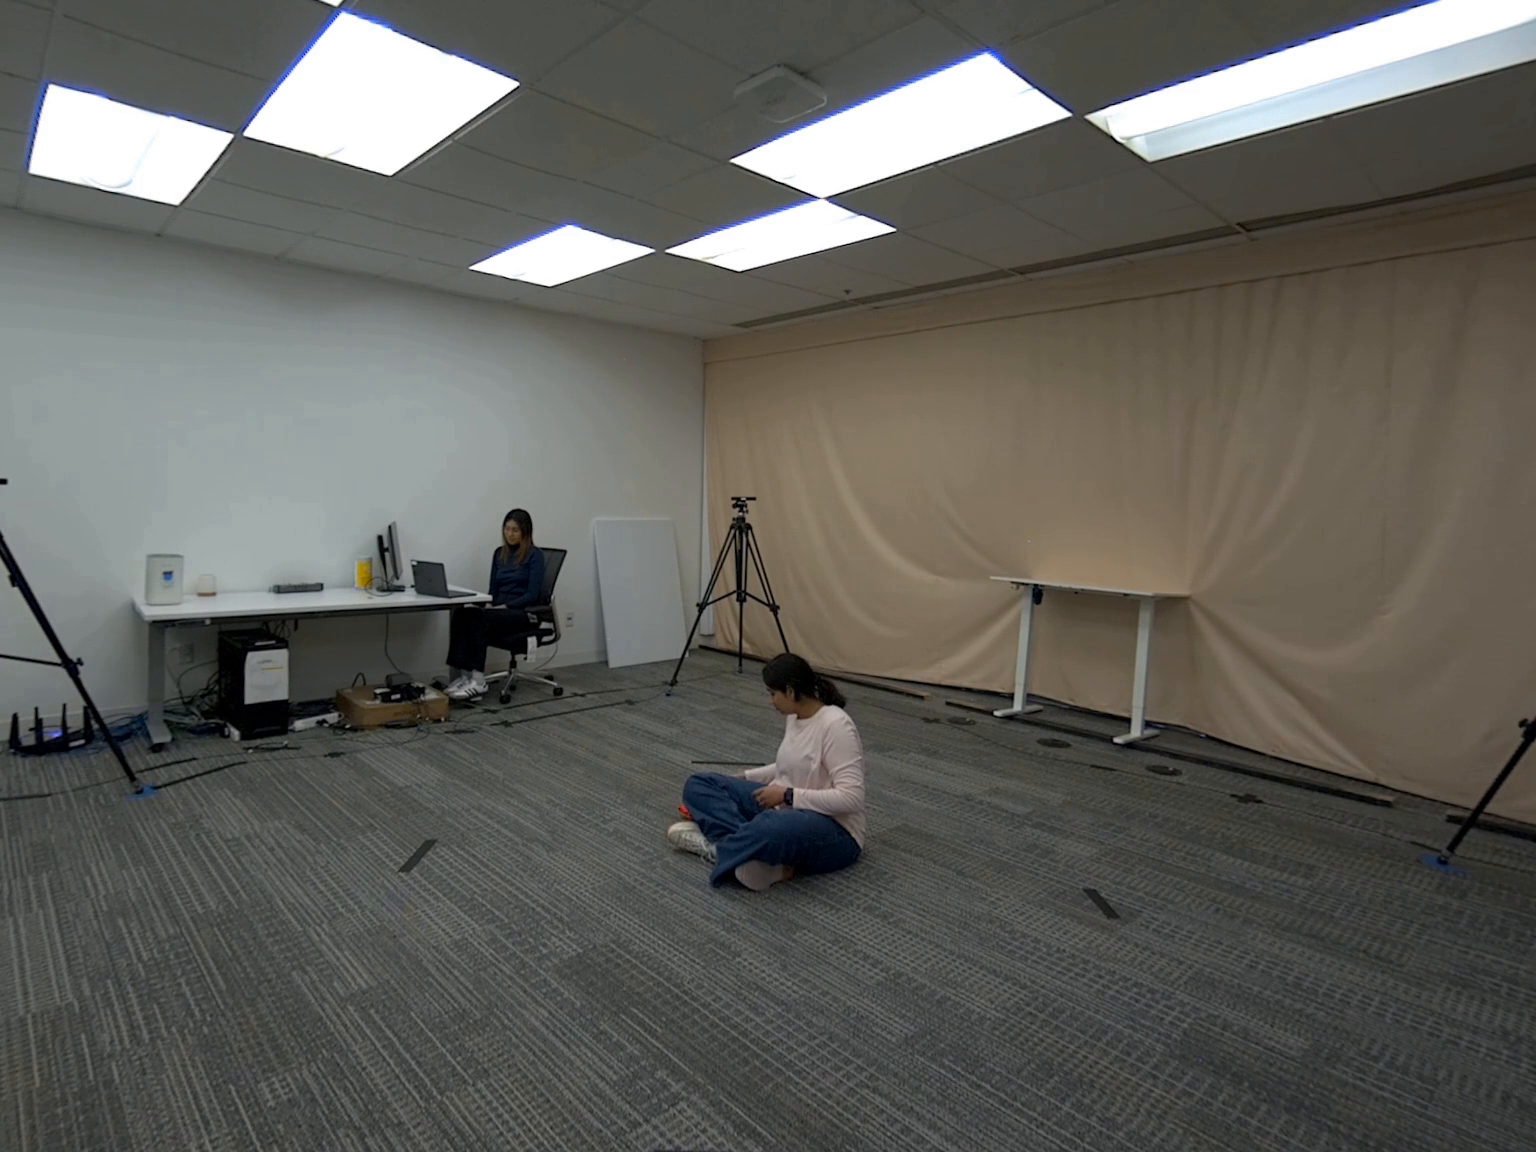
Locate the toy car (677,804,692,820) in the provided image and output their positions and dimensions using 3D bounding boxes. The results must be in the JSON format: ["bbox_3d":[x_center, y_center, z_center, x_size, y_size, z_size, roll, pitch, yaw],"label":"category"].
[{"bbox_3d":[-0.282,1.017,3.691,0.248,0.083,0.133,13,-5,-37],"label":"toy car"}]
